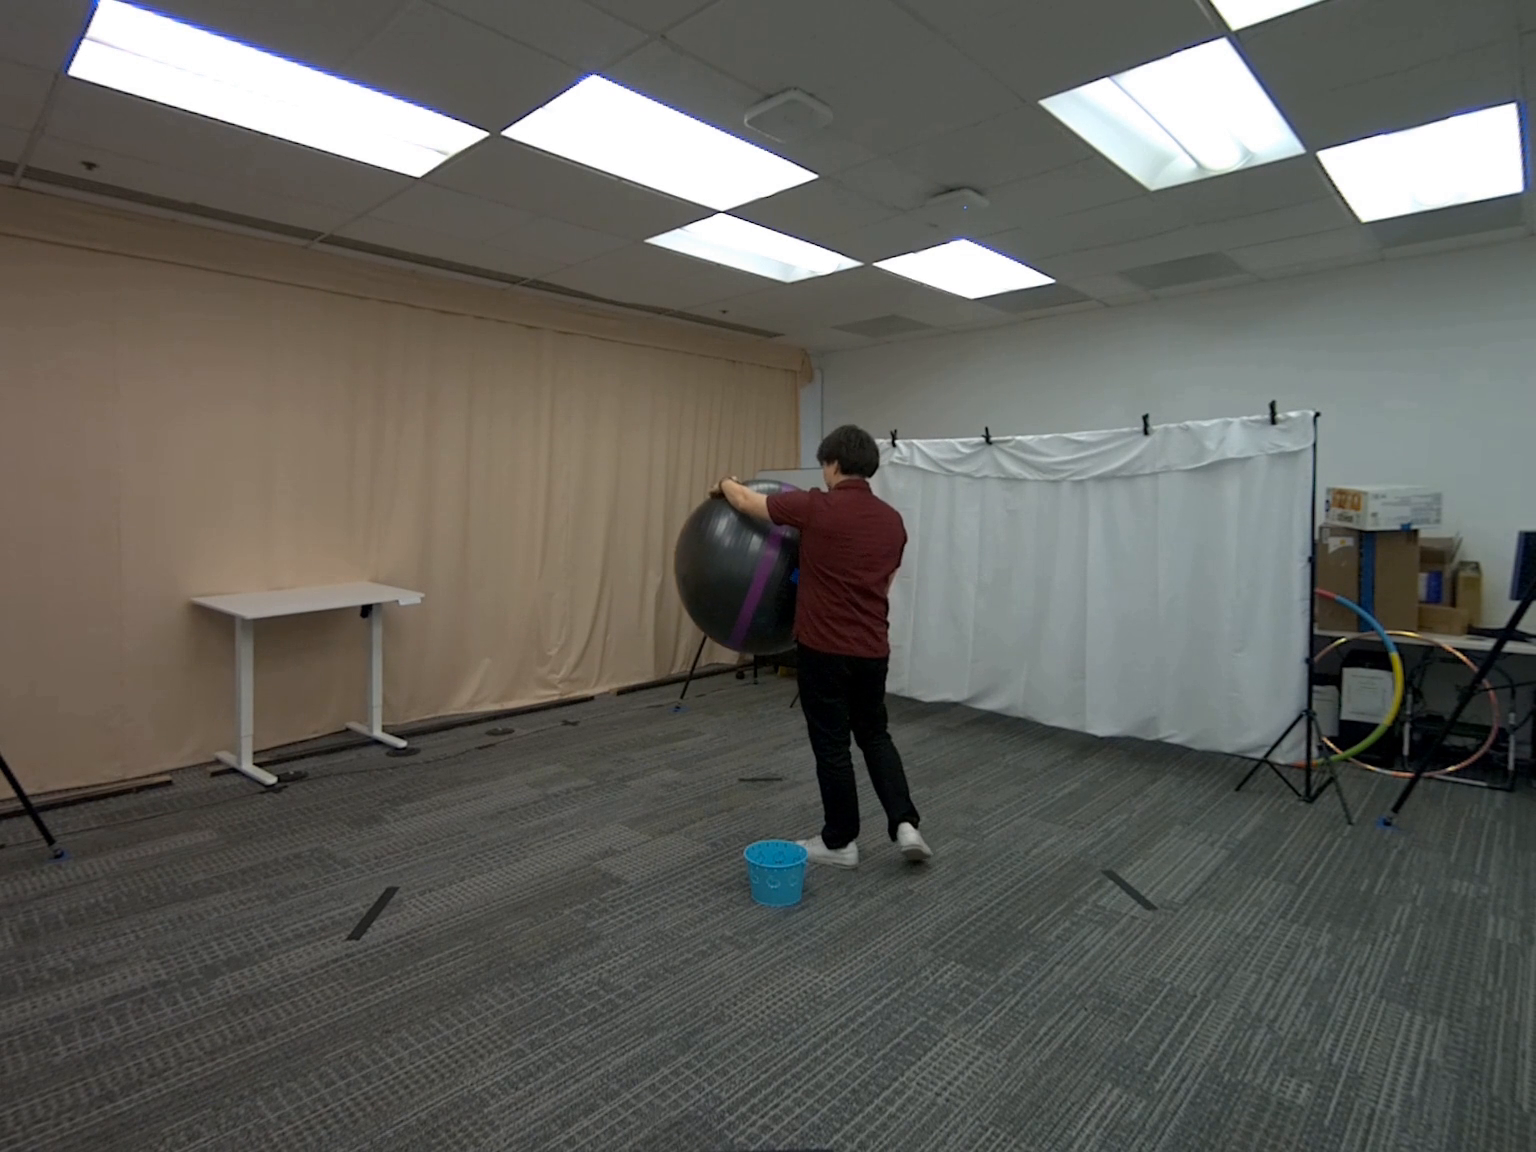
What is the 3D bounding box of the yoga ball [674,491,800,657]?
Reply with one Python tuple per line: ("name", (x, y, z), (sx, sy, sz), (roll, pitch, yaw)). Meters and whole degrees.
("yoga ball", (-0.031, -0.037, 3.684), (0.757, 0.756, 0.761), (0, 4, -2))
